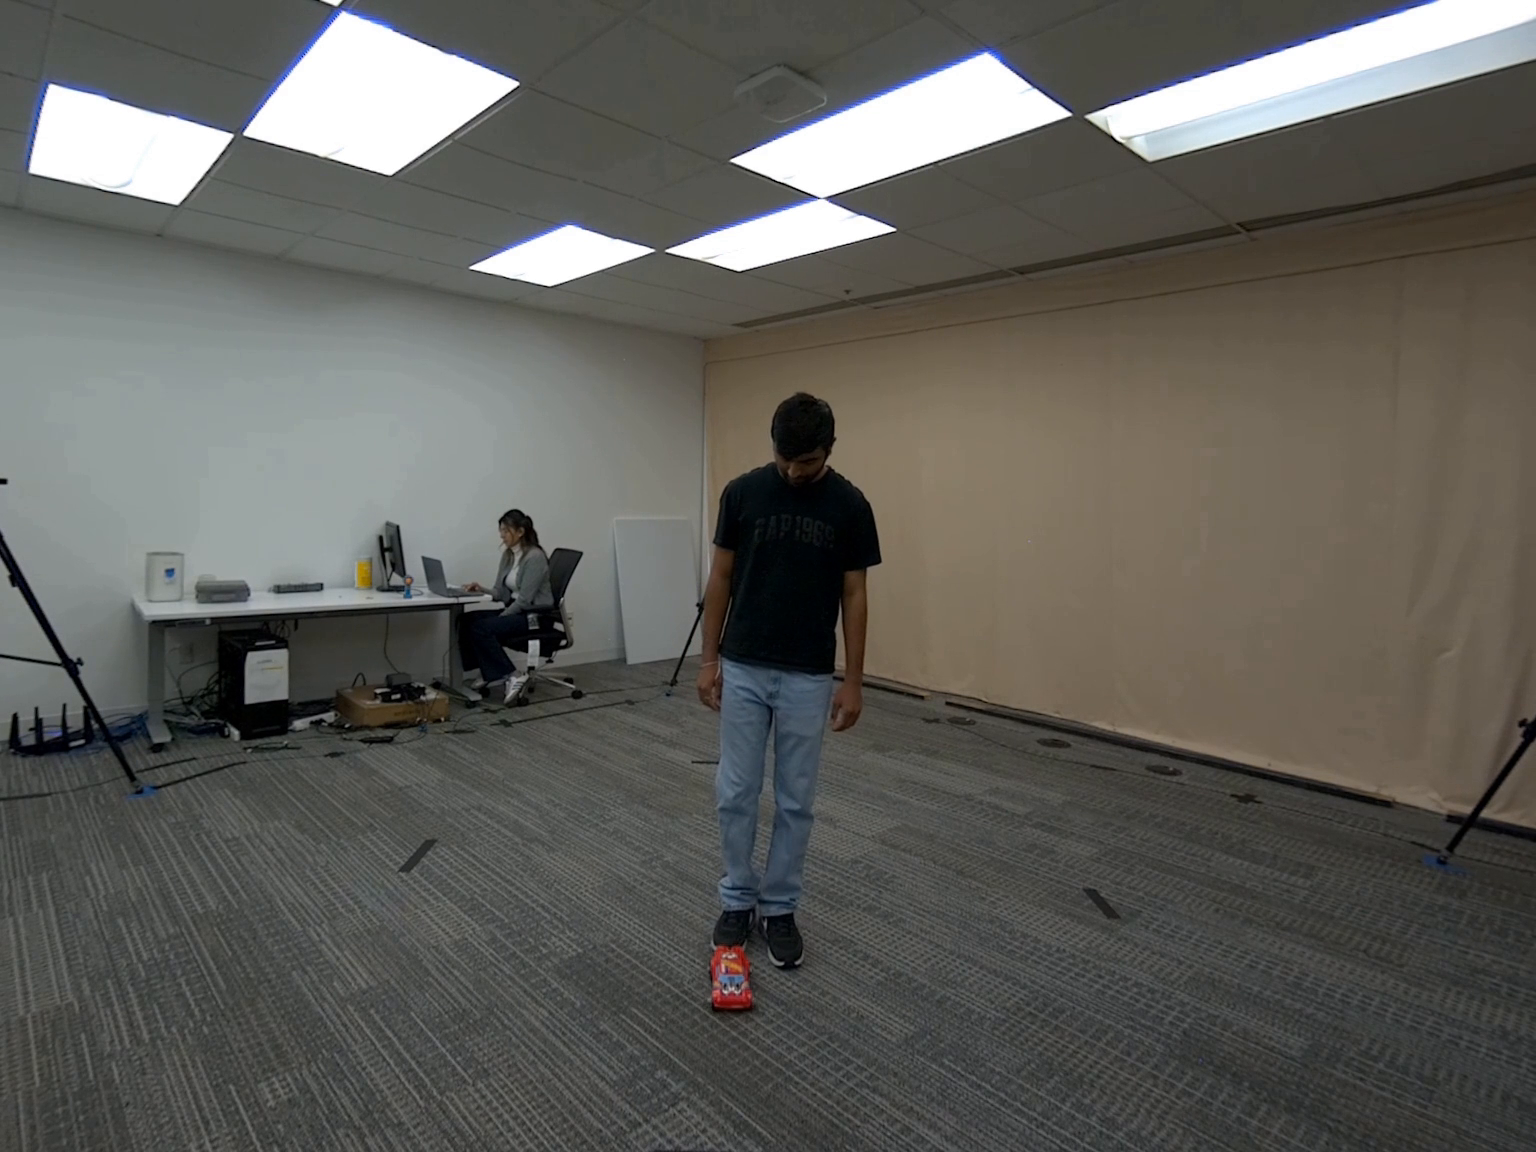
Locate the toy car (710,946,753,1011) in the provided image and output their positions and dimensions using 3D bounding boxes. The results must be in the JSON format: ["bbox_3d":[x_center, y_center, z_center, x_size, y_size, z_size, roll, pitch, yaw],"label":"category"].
[{"bbox_3d":[-0.118,1.144,2.380,0.130,0.082,0.258,0,17,-4],"label":"toy car"}]
